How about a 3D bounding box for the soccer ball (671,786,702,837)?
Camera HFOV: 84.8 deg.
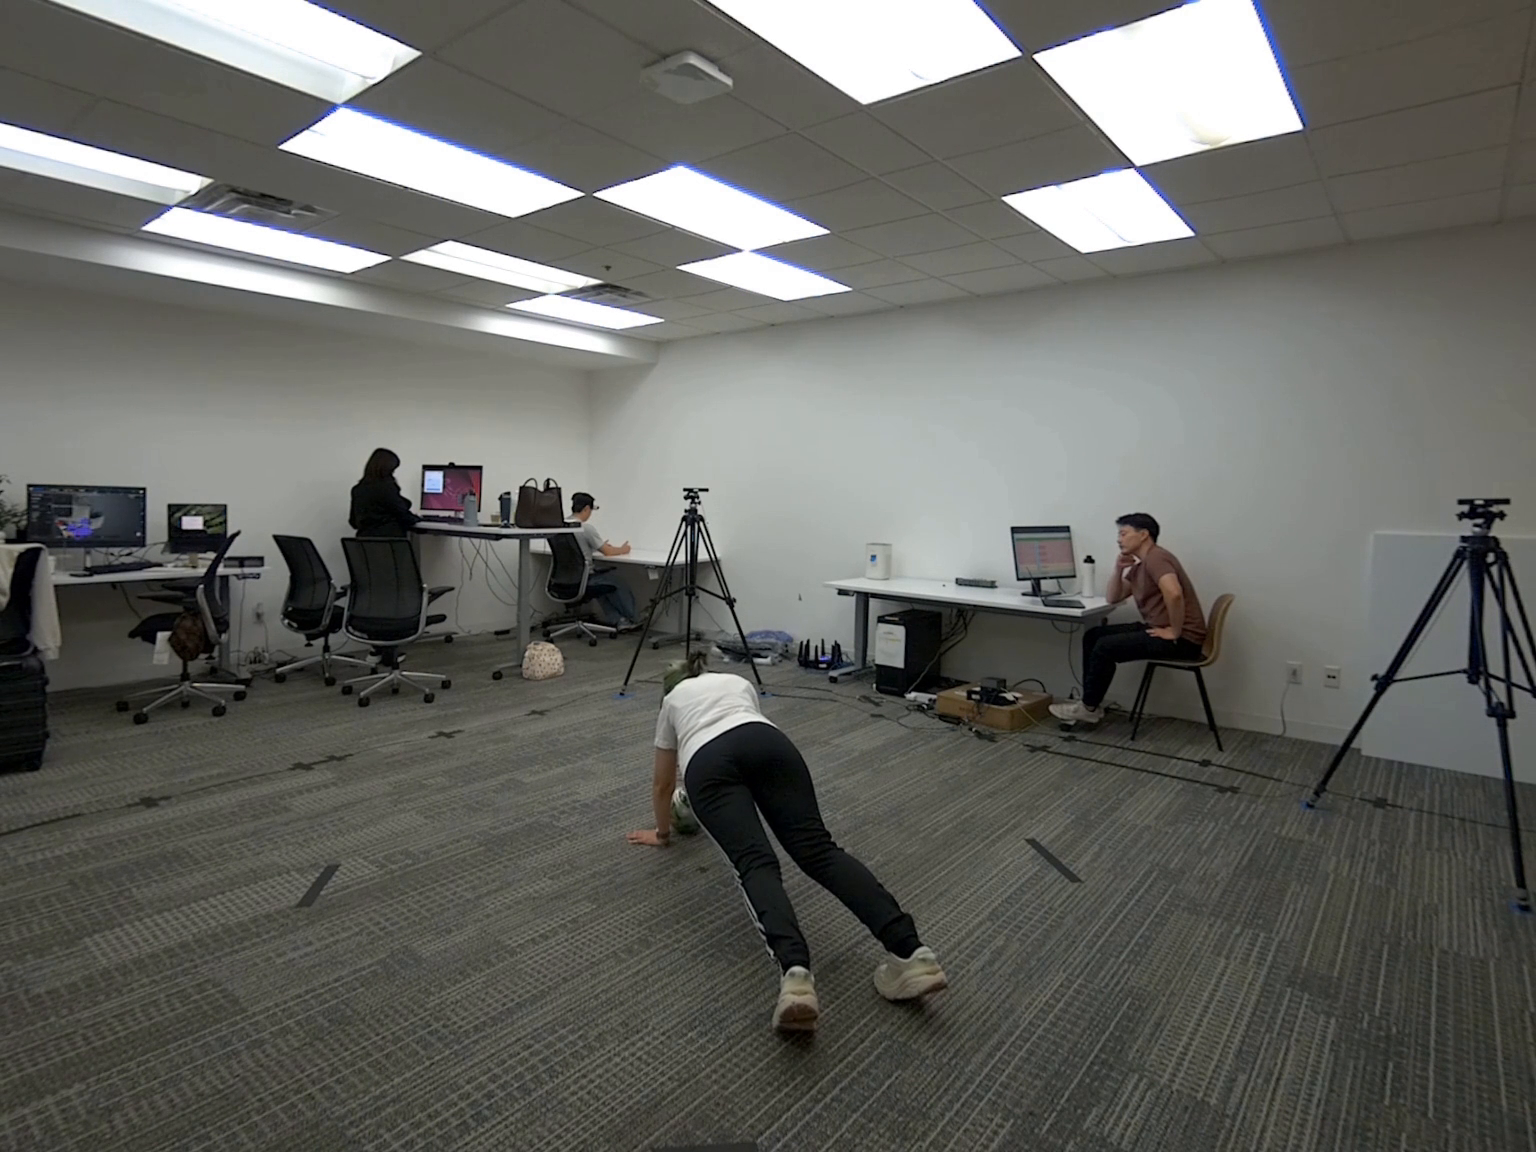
[{"bbox_3d":[-0.330,0.939,3.459,0.187,0.187,0.188,1,4,-2],"label":"soccer ball"}]
